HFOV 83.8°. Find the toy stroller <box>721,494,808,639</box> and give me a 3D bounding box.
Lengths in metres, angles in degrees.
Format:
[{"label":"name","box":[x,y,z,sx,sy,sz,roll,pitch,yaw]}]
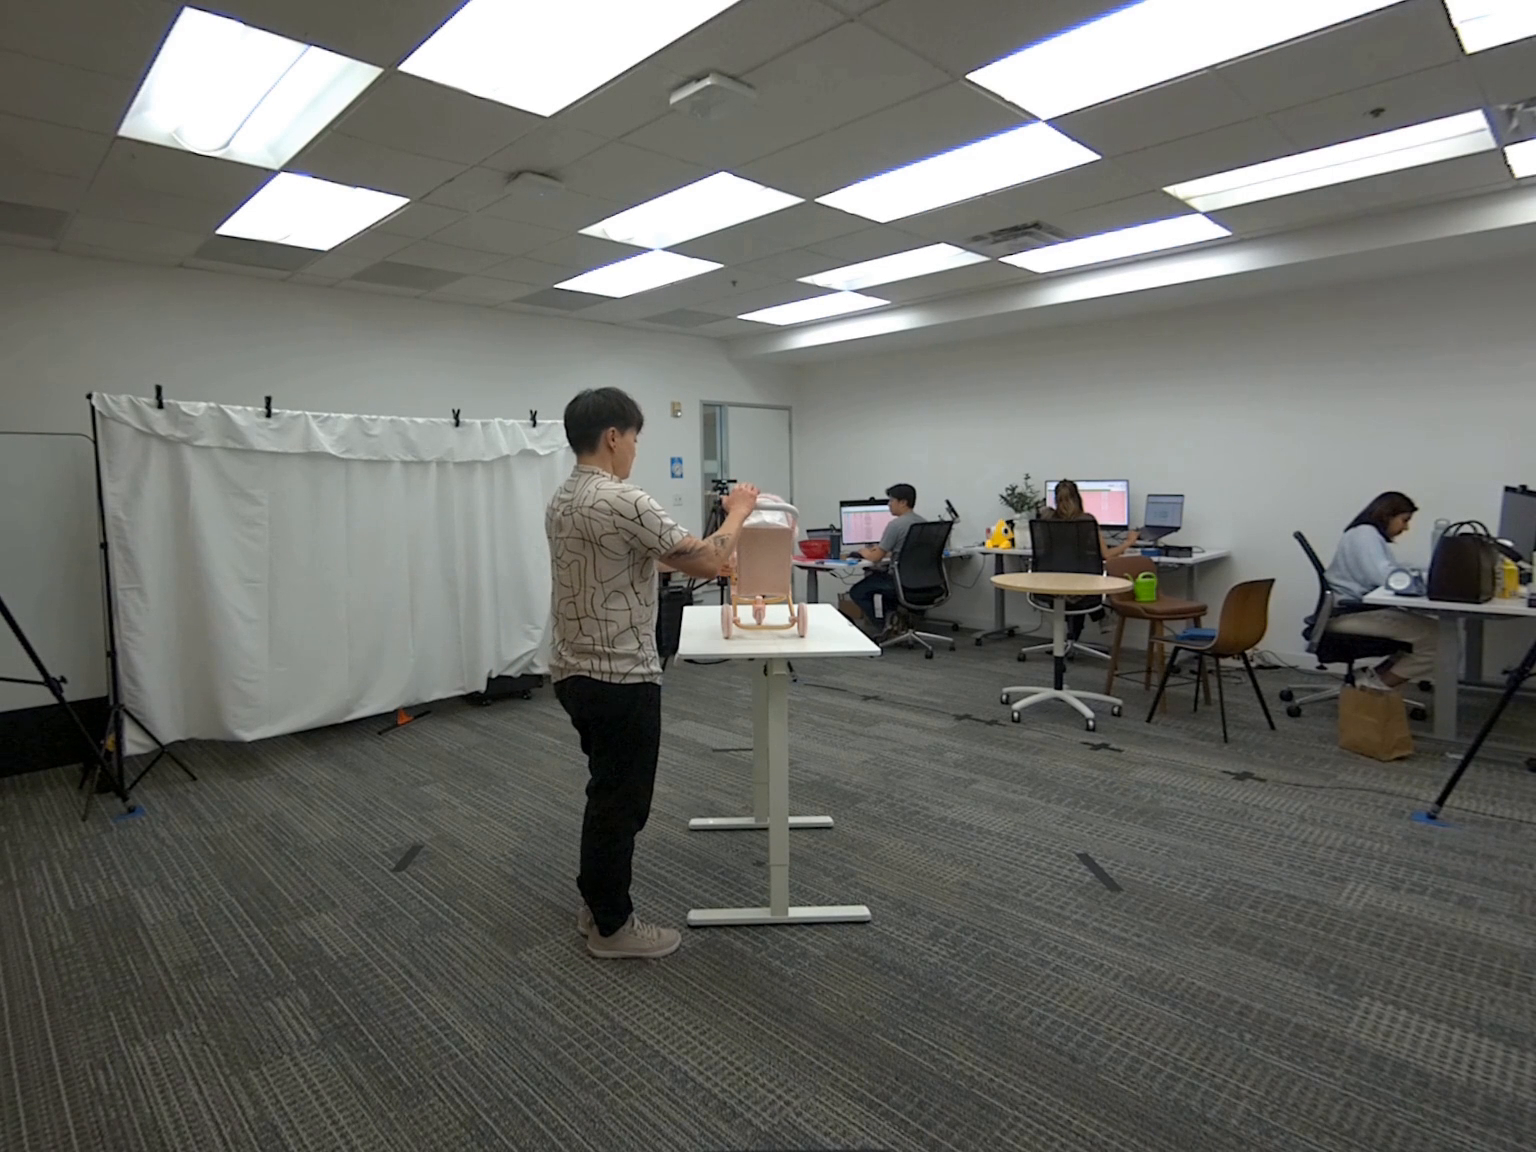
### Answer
[{"label":"toy stroller","box":[-0.012,-0.030,2.838,0.282,0.526,0.346,0,19,1]}]
